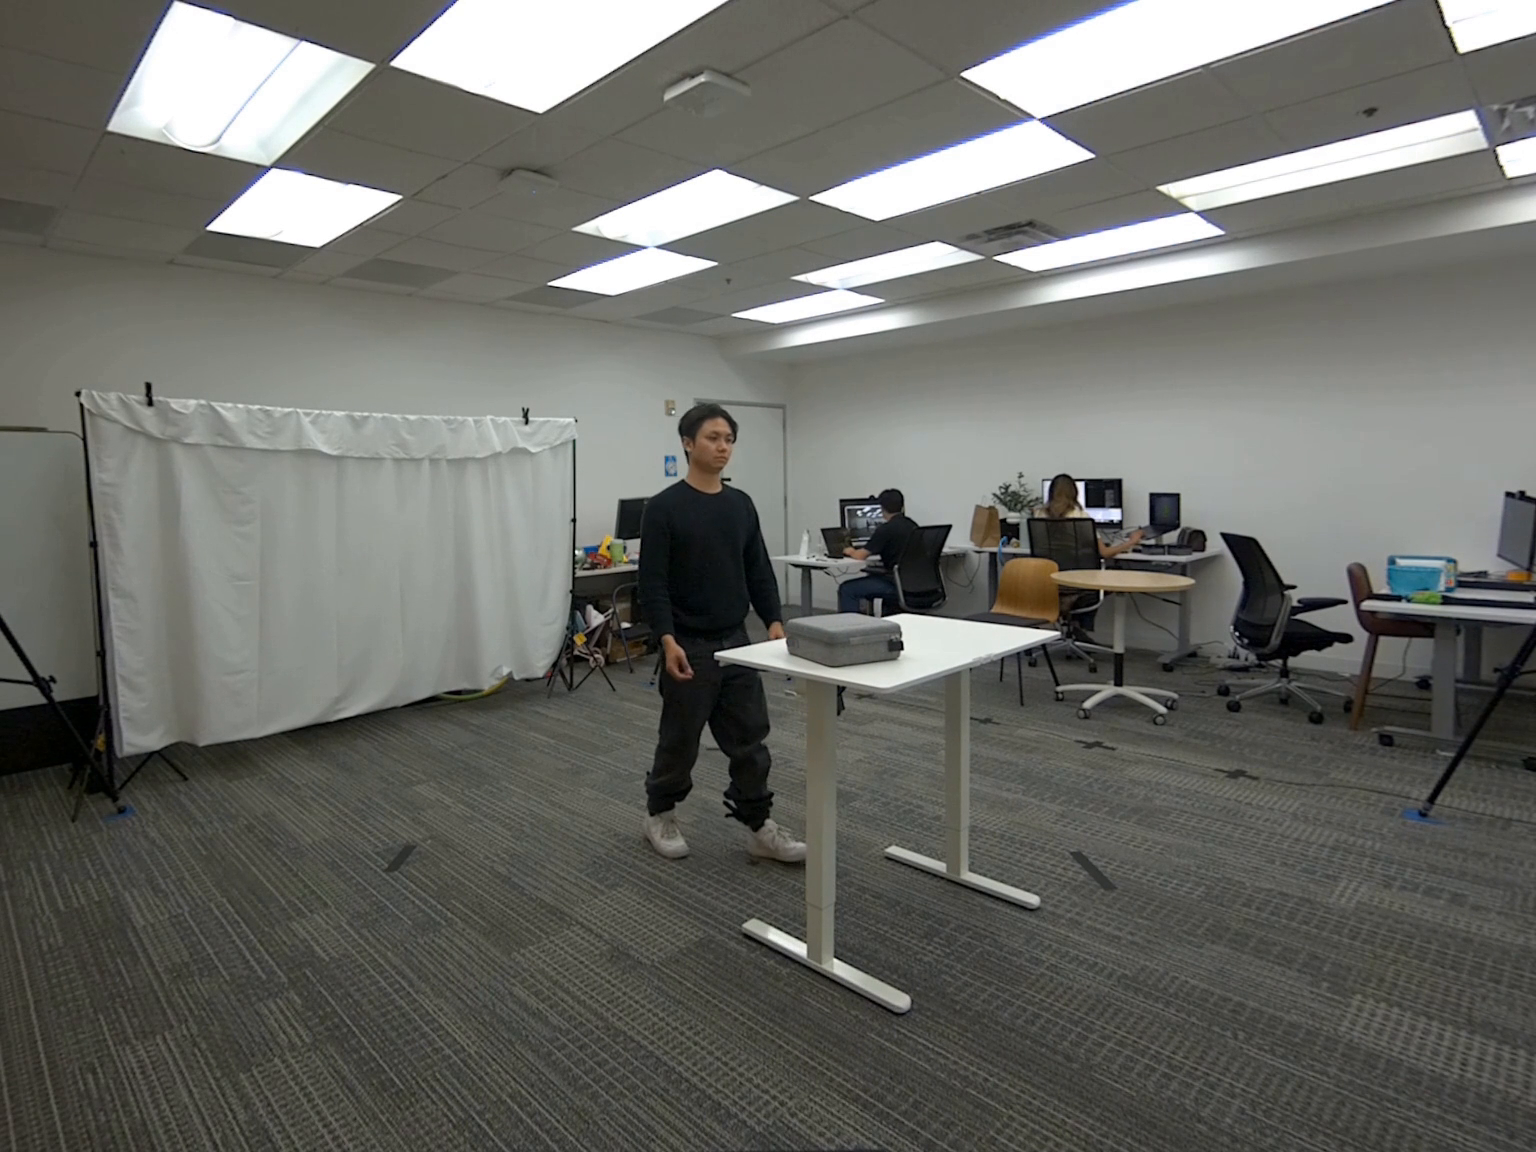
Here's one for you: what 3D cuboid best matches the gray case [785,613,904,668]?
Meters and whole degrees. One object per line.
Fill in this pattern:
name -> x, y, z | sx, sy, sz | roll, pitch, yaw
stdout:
gray case -> 0.215, 0.176, 2.442 | 0.251, 0.104, 0.268 | -5, 7, -28
